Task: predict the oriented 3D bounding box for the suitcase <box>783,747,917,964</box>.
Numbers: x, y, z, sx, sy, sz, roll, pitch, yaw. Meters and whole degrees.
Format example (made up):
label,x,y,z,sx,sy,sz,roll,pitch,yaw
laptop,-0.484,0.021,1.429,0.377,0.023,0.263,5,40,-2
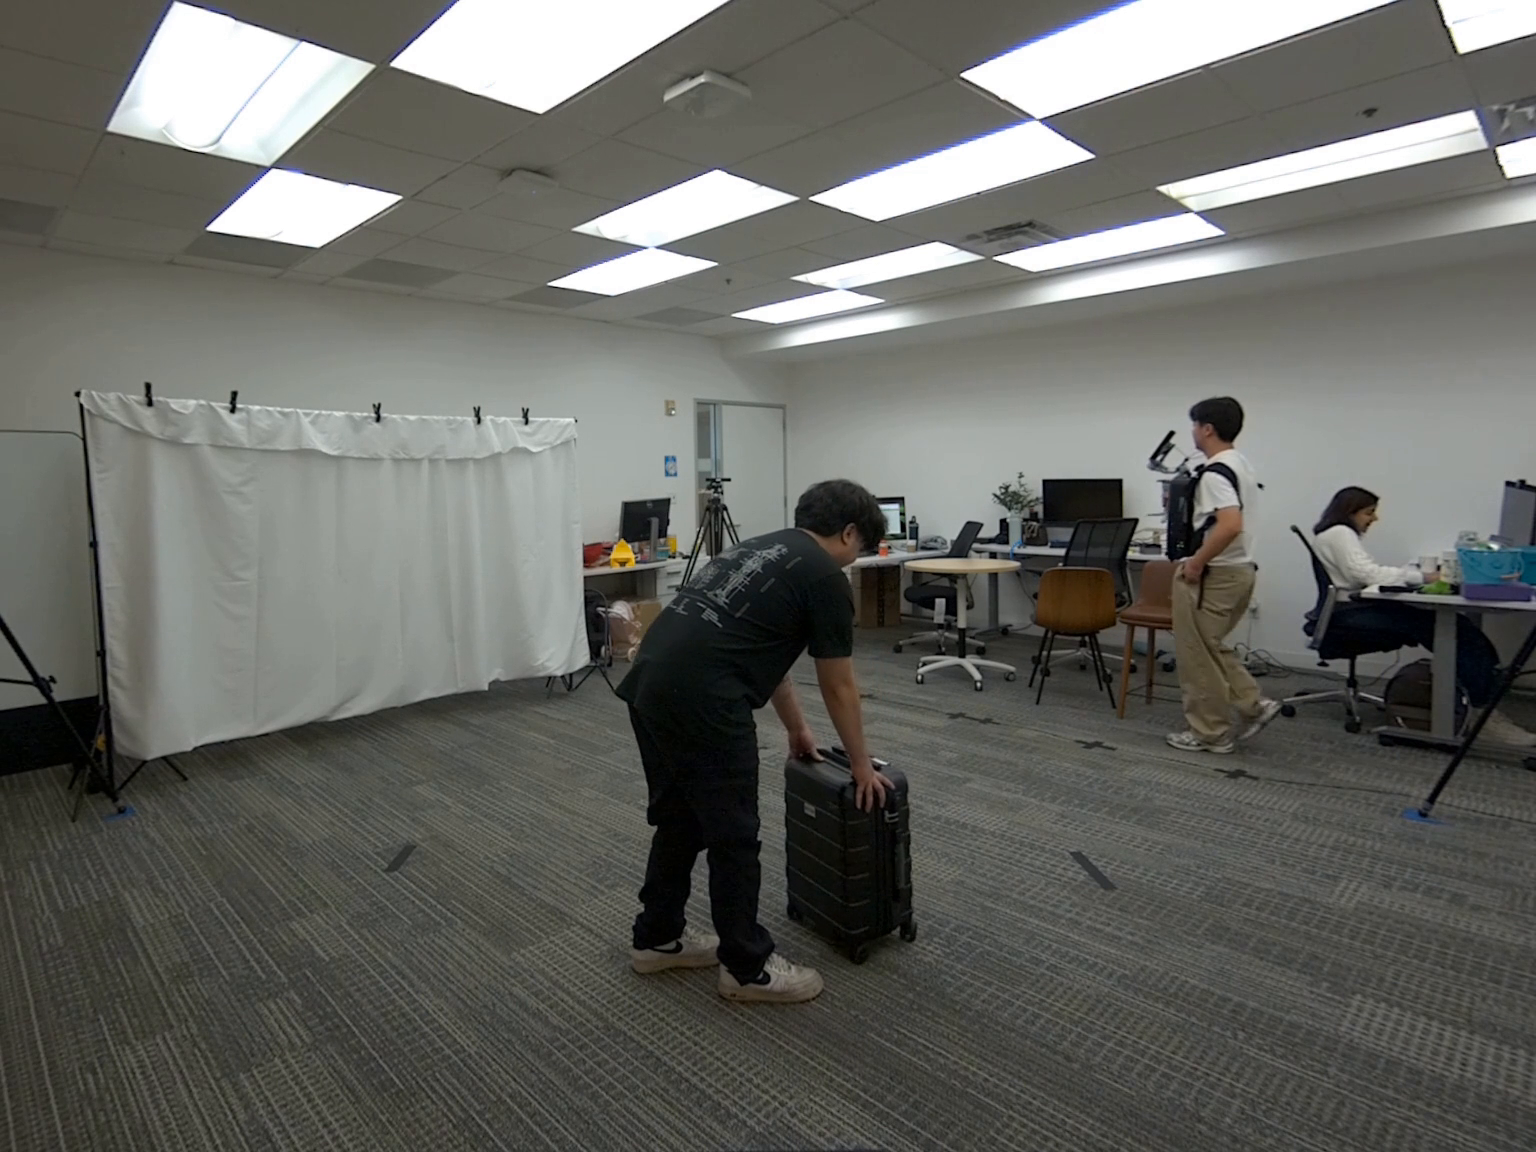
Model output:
label,x,y,z,sx,sy,sz,roll,pitch,yaw
suitcase,0.246,0.823,2.612,0.242,0.546,0.386,-6,8,-33
